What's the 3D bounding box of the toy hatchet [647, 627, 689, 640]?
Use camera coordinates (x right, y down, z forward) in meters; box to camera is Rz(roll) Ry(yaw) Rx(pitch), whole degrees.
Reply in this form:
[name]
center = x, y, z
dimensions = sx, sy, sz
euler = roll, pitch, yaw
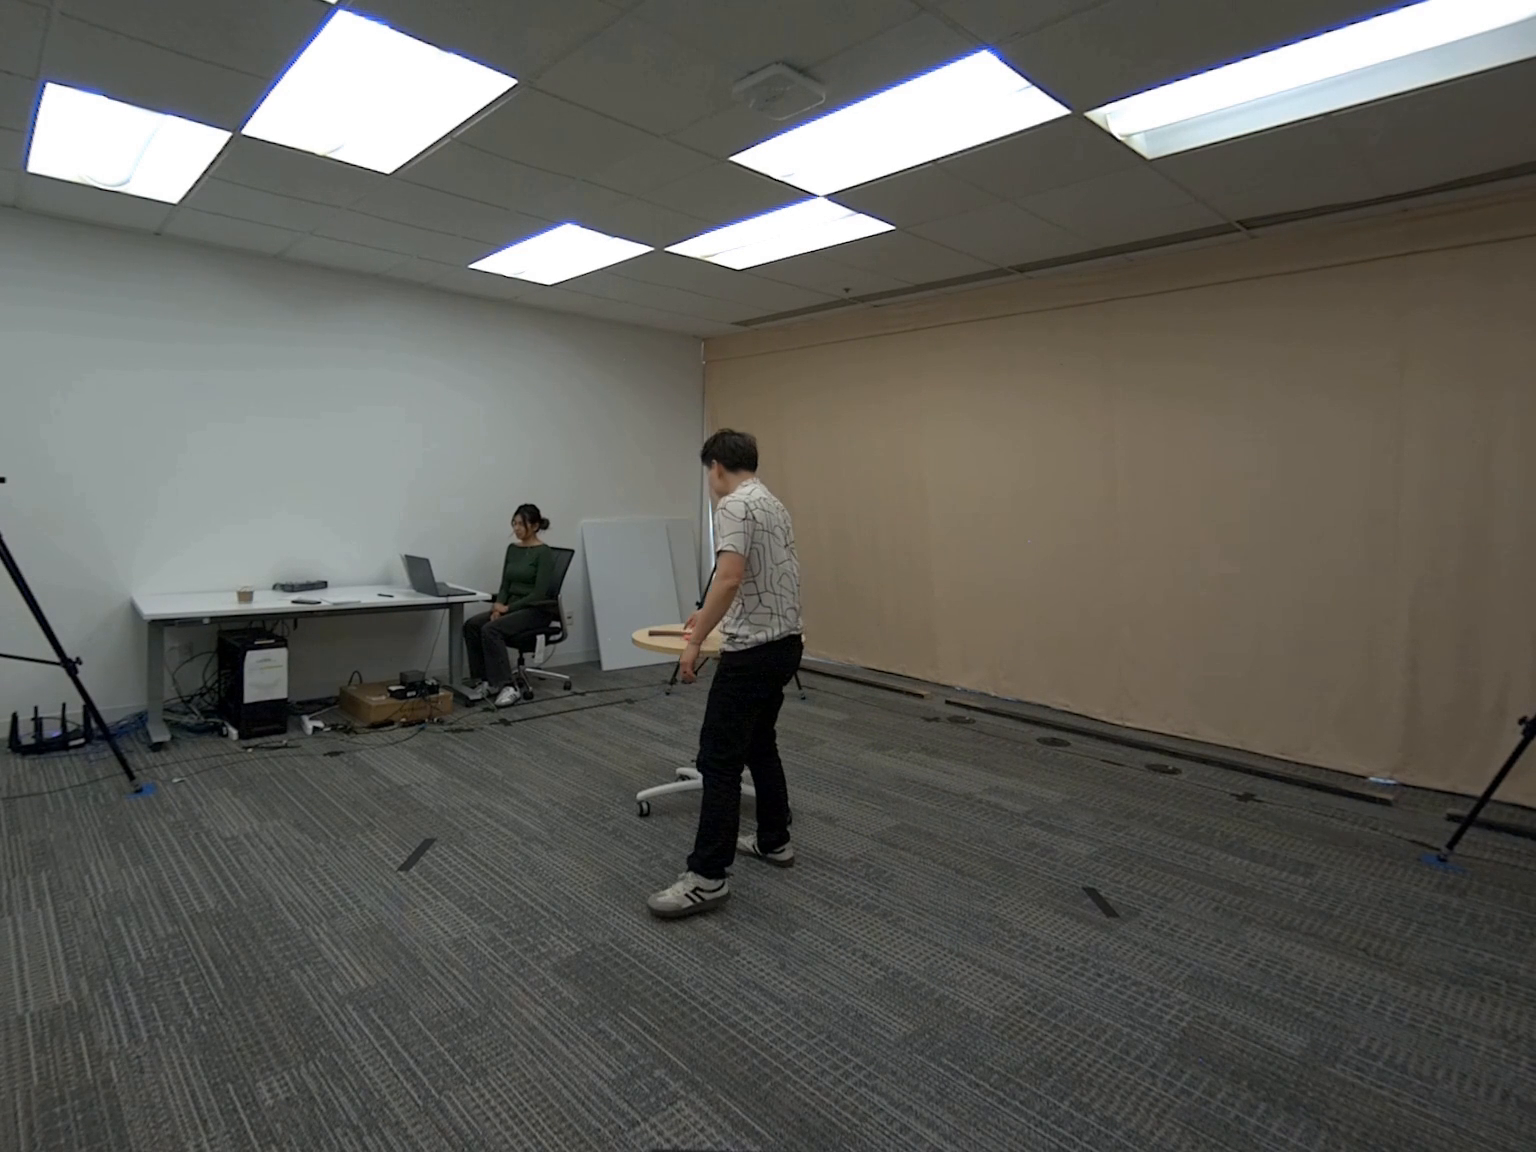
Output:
[toy hatchet]
center = -0.405, 0.258, 3.621
dimensions = 0.271, 0.029, 0.131
euler = 1, 8, 6
